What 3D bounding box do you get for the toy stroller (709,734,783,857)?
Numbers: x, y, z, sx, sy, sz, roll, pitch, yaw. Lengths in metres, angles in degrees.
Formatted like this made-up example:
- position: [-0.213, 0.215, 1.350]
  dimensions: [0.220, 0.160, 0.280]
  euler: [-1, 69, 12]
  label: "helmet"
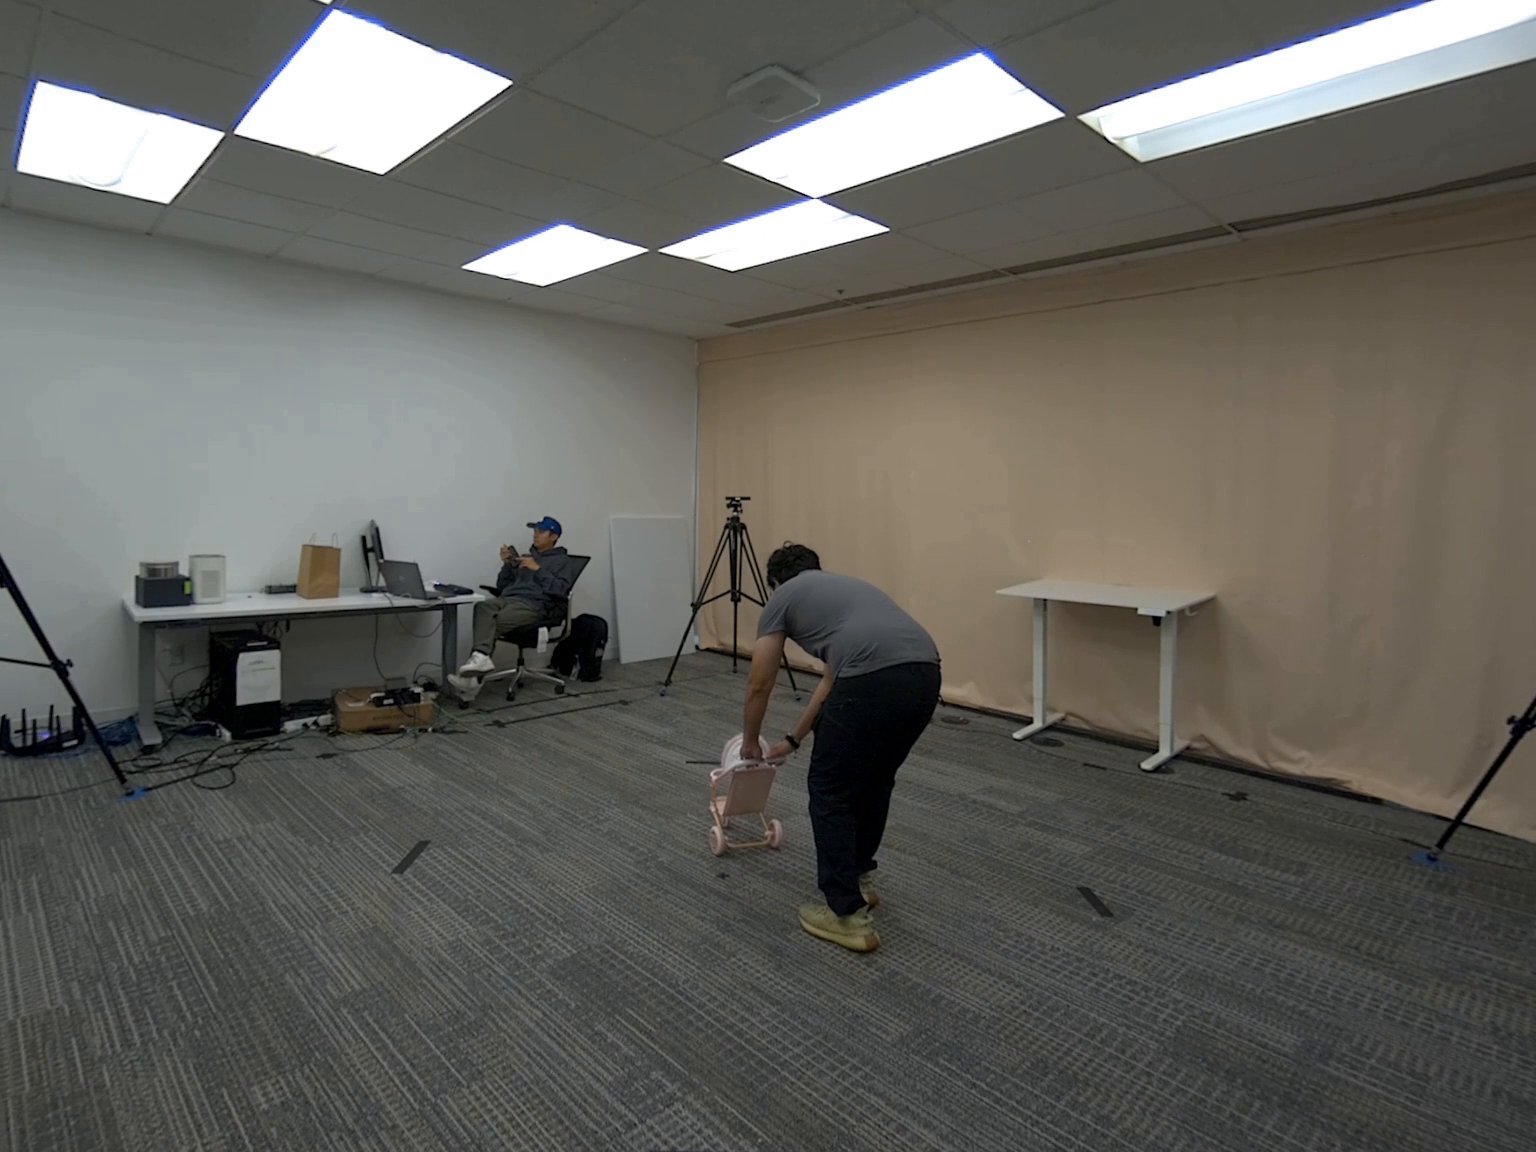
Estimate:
- position: [-0.104, 0.858, 3.372]
  dimensions: [0.278, 0.528, 0.350]
  euler: [1, 21, -18]
  label: "toy stroller"
